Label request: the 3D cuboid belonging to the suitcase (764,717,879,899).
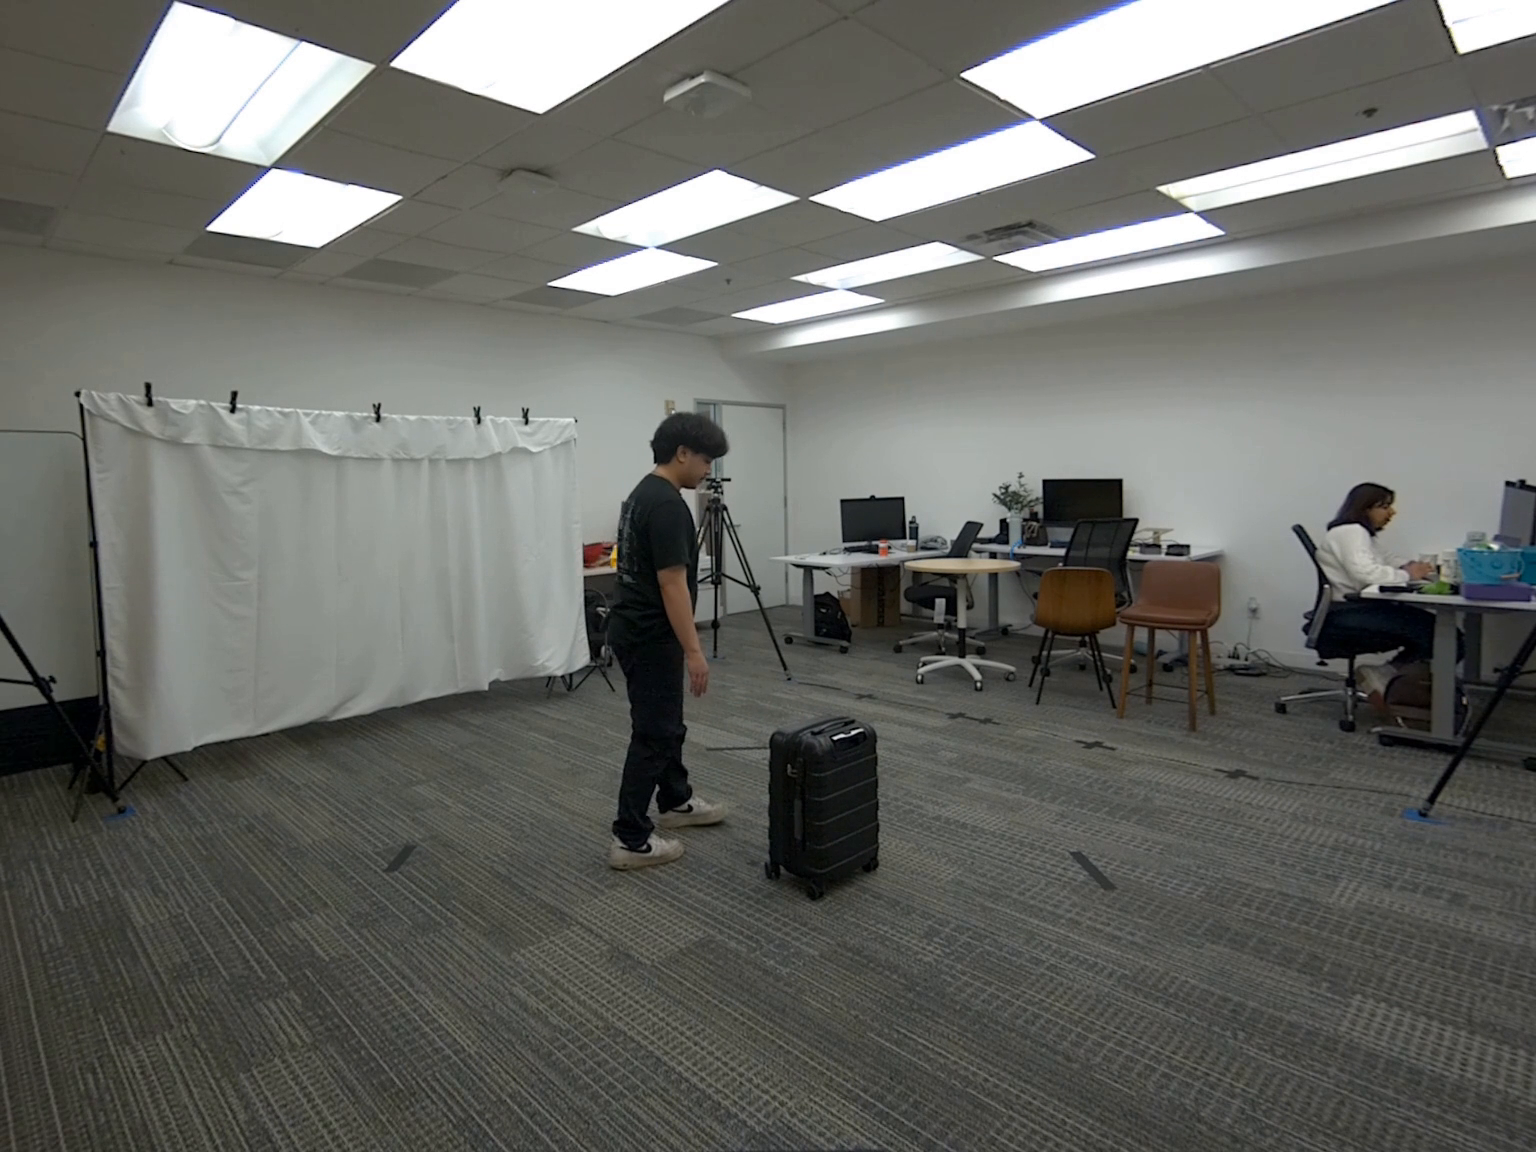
[{"bbox_3d":[0.199,0.777,2.973,0.365,0.547,0.256,-5,7,-42],"label":"suitcase"}]
